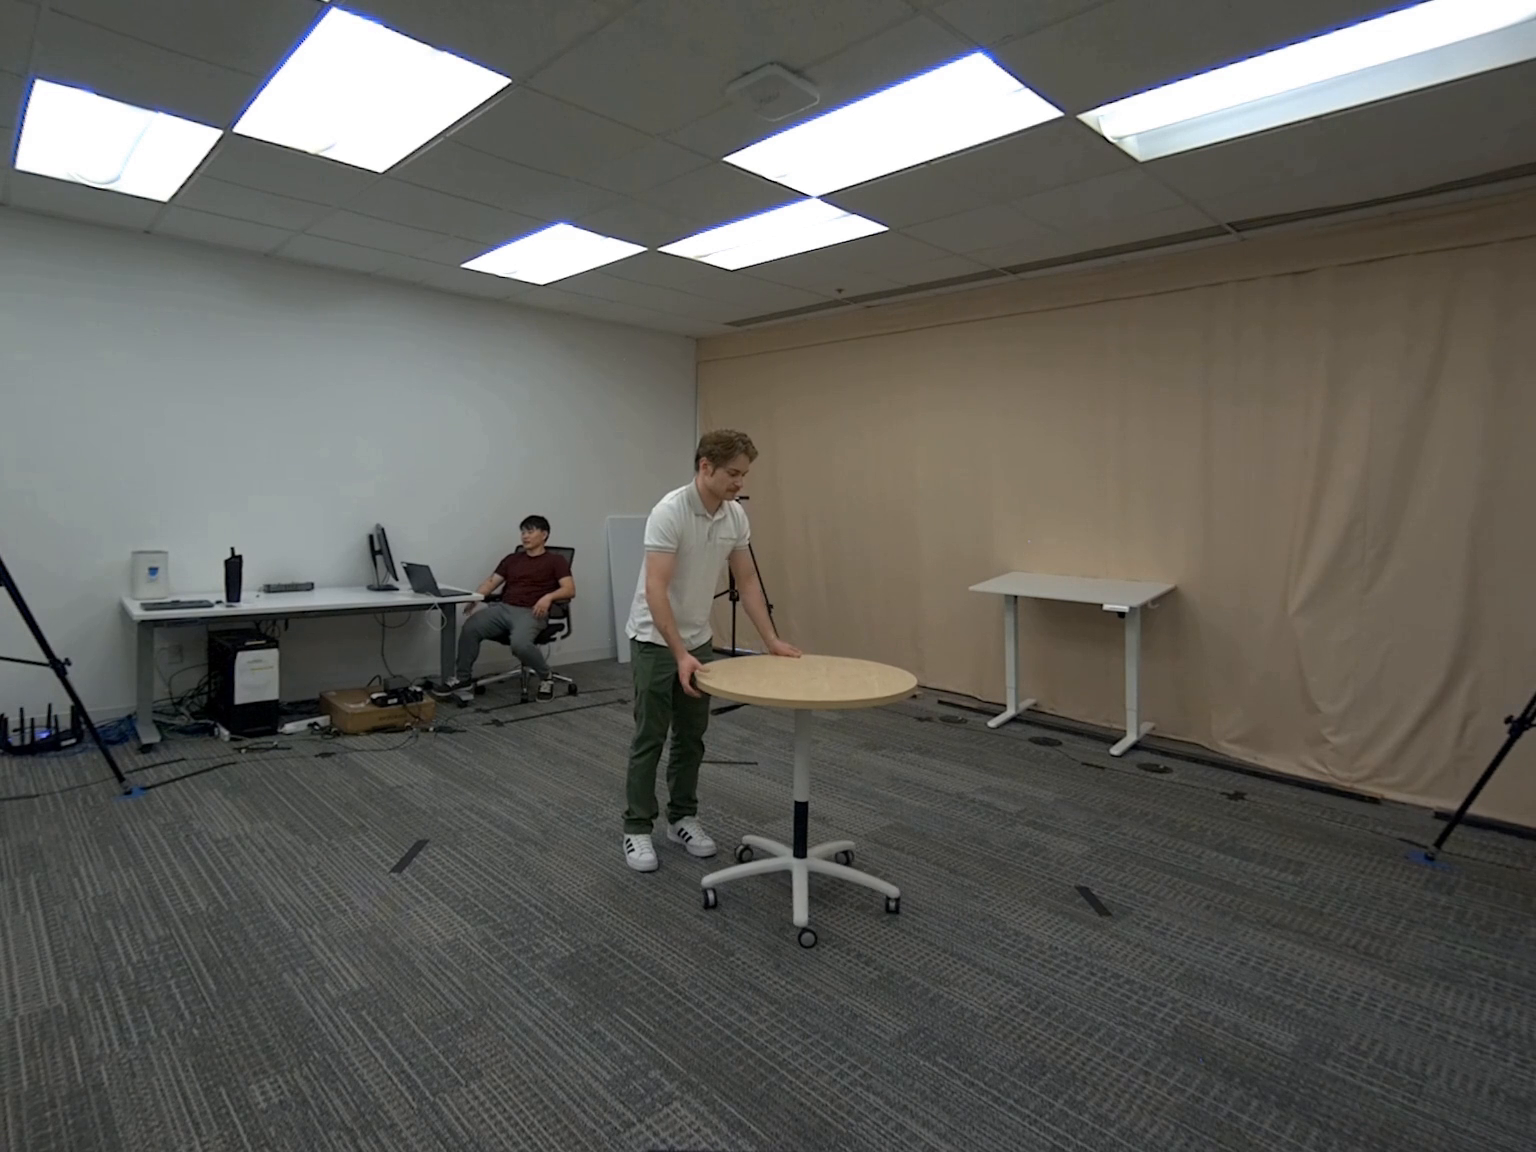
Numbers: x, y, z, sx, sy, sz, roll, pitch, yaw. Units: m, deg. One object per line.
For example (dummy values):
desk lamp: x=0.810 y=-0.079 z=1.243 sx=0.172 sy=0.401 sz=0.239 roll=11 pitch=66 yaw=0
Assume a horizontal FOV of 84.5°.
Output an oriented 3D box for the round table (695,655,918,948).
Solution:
round table: x=0.117 y=0.735 z=2.935 sx=0.763 sy=0.792 sz=0.767 roll=1 pitch=4 yaw=-1
